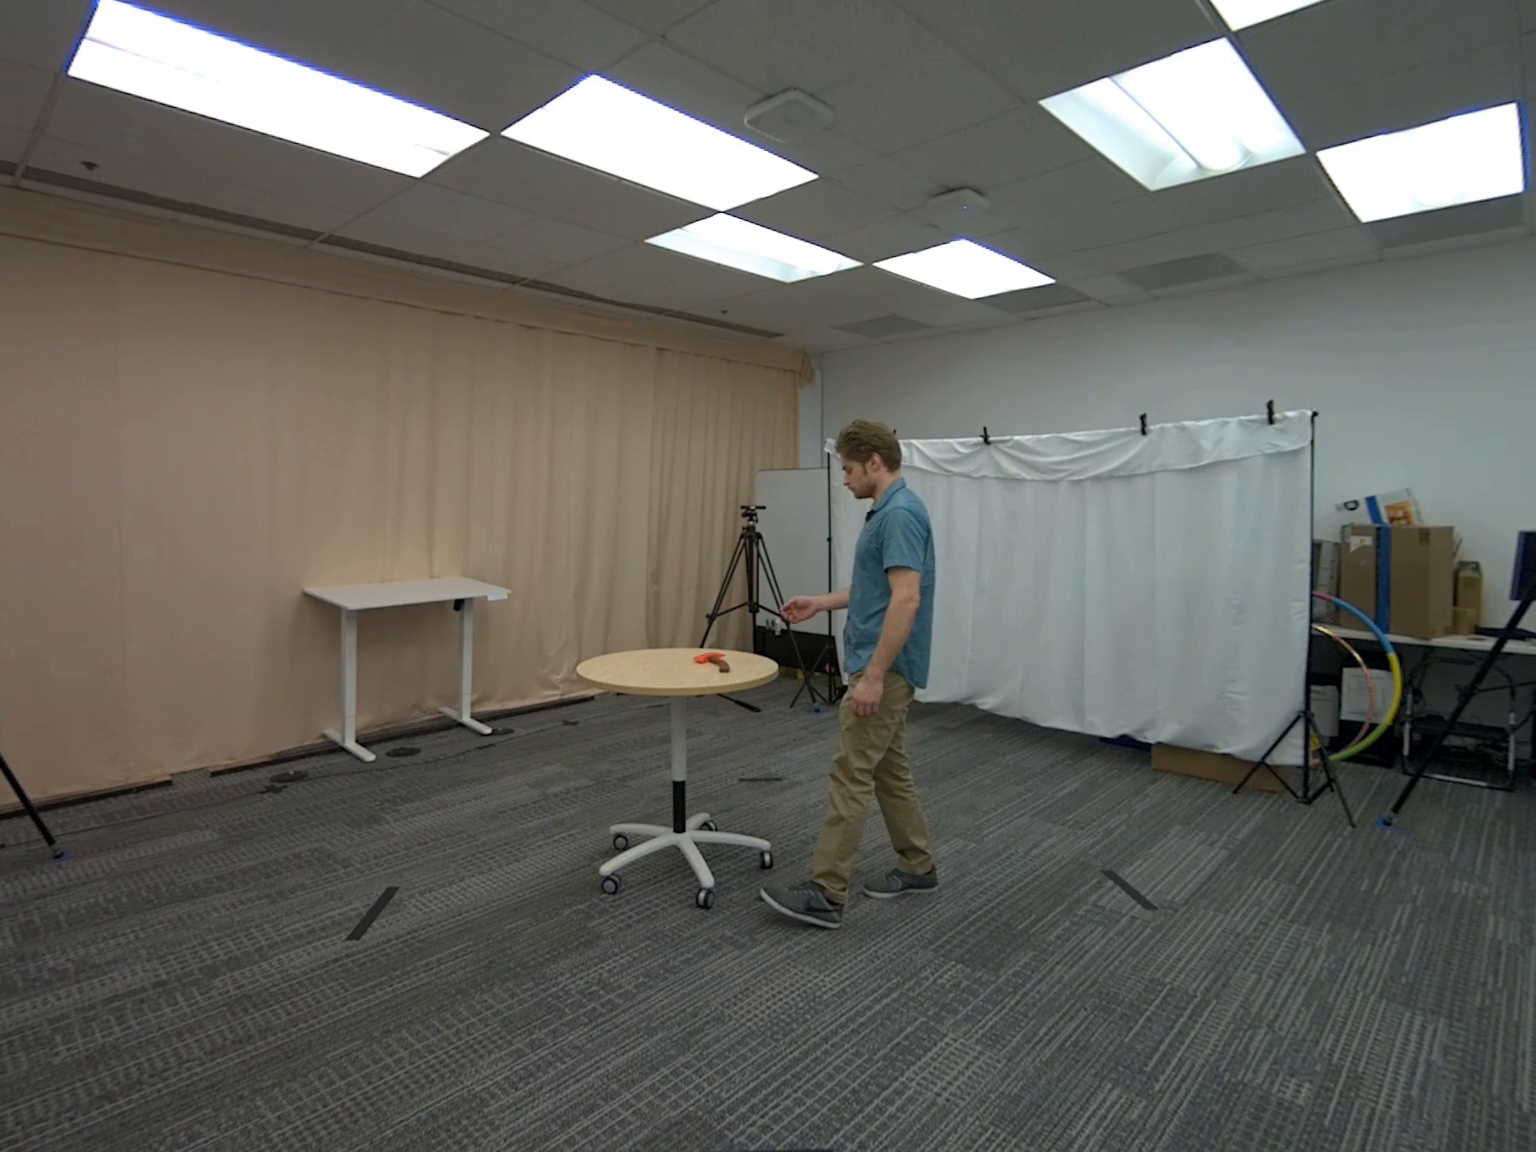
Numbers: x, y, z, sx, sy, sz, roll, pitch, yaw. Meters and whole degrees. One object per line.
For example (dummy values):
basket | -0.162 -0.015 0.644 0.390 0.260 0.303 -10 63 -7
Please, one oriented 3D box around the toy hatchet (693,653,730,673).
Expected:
toy hatchet | -0.216 0.331 3.202 0.130 0.029 0.272 0 6 -6
